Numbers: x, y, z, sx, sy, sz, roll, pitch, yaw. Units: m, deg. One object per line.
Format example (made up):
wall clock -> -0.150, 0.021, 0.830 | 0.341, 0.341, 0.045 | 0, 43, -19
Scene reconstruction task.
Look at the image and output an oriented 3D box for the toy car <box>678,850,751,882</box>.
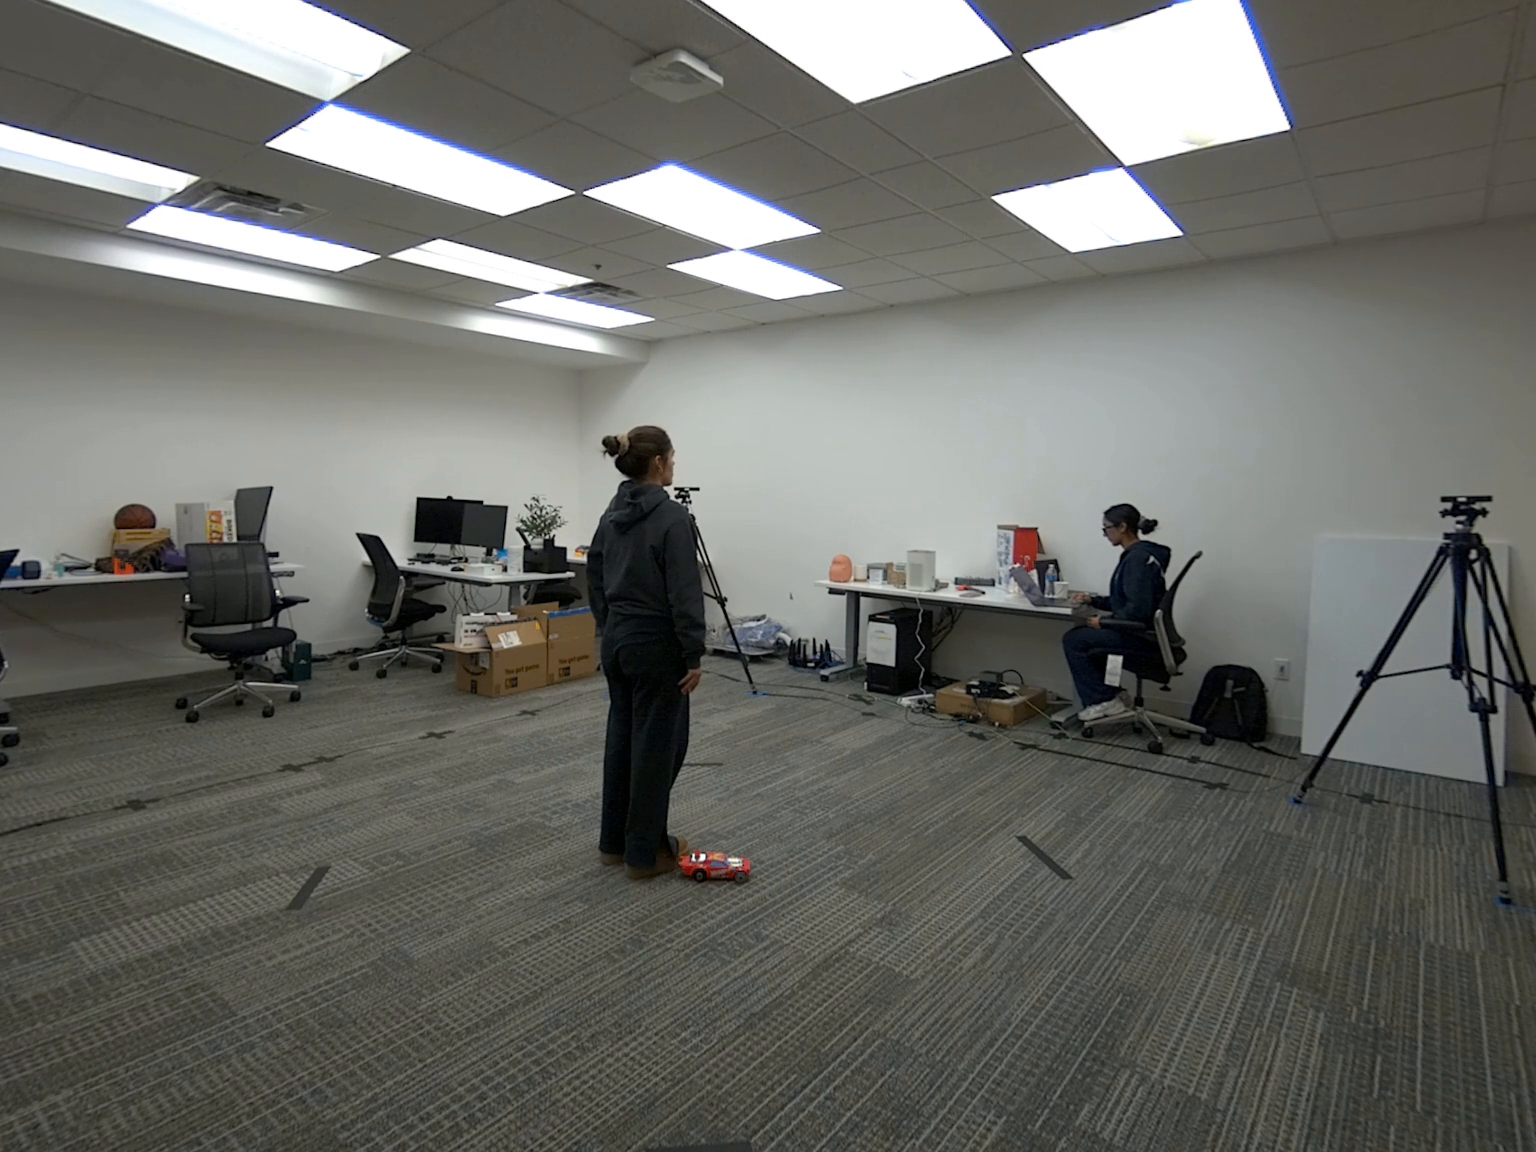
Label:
toy car -> -0.193, 1.047, 3.045 | 0.254, 0.083, 0.131 | 13, 3, -3
